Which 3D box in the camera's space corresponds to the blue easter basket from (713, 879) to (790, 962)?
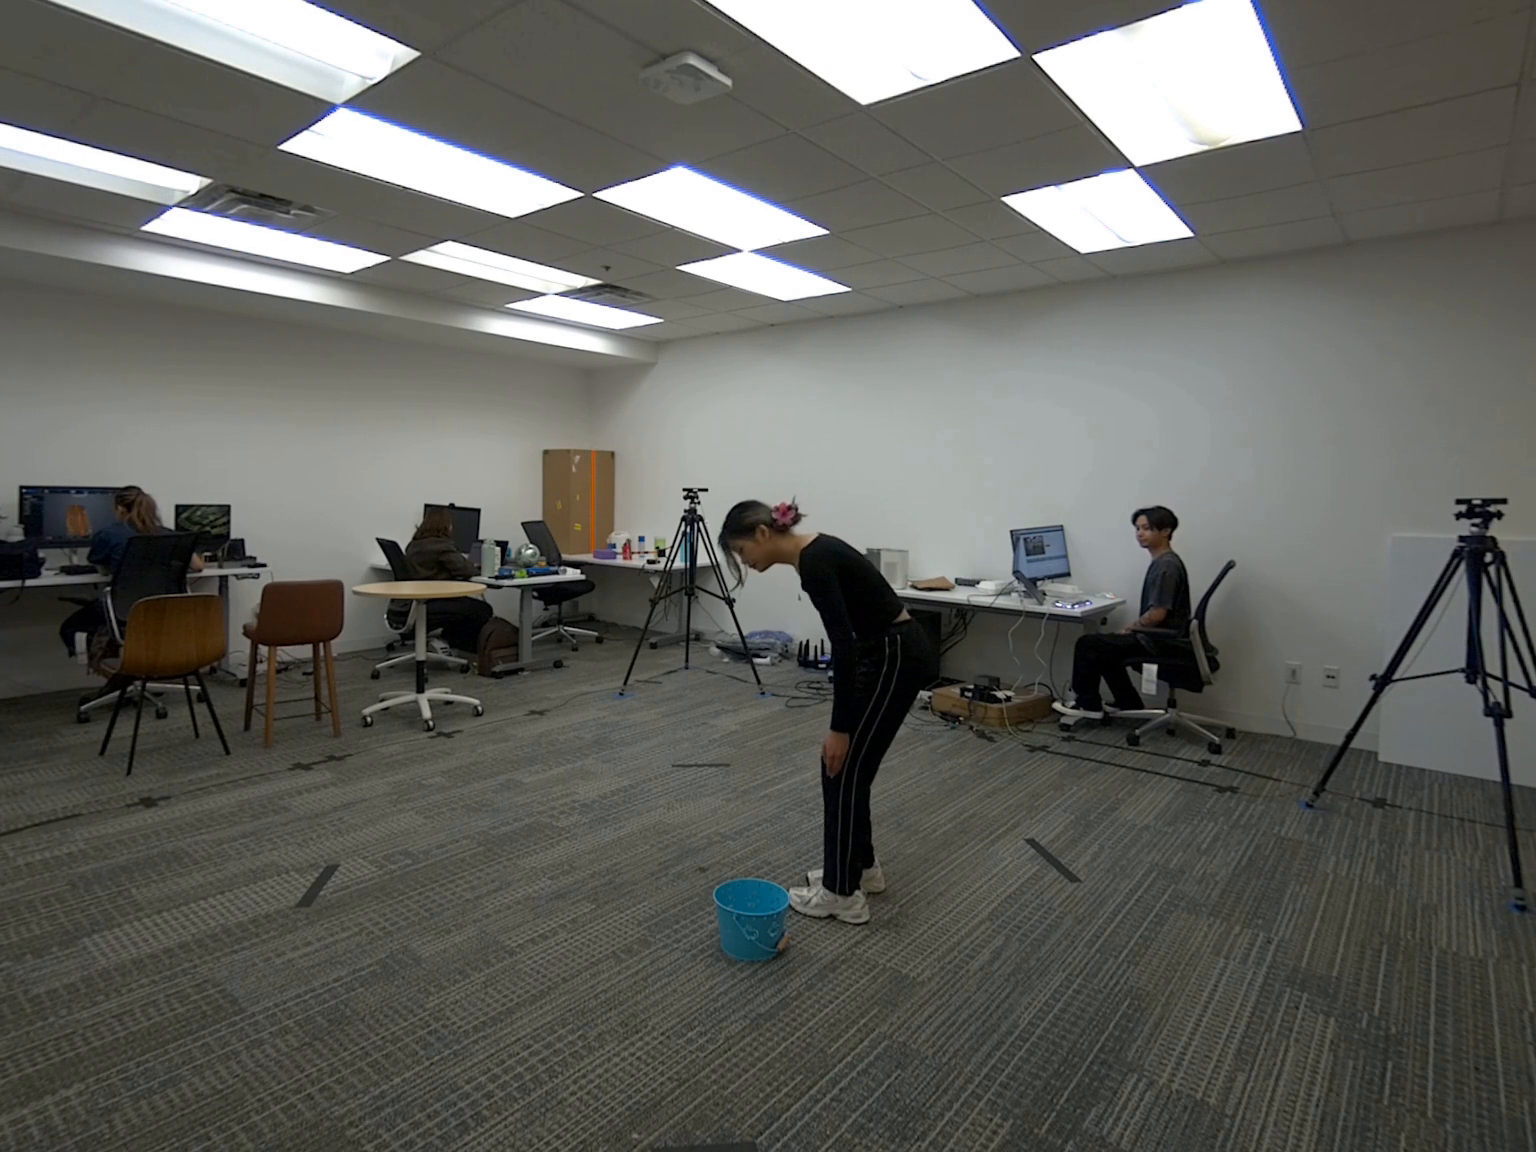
[{"bbox_3d":[-0.059,1.045,2.590,0.243,0.155,0.245,1,5,-2],"label":"blue easter basket"}]
